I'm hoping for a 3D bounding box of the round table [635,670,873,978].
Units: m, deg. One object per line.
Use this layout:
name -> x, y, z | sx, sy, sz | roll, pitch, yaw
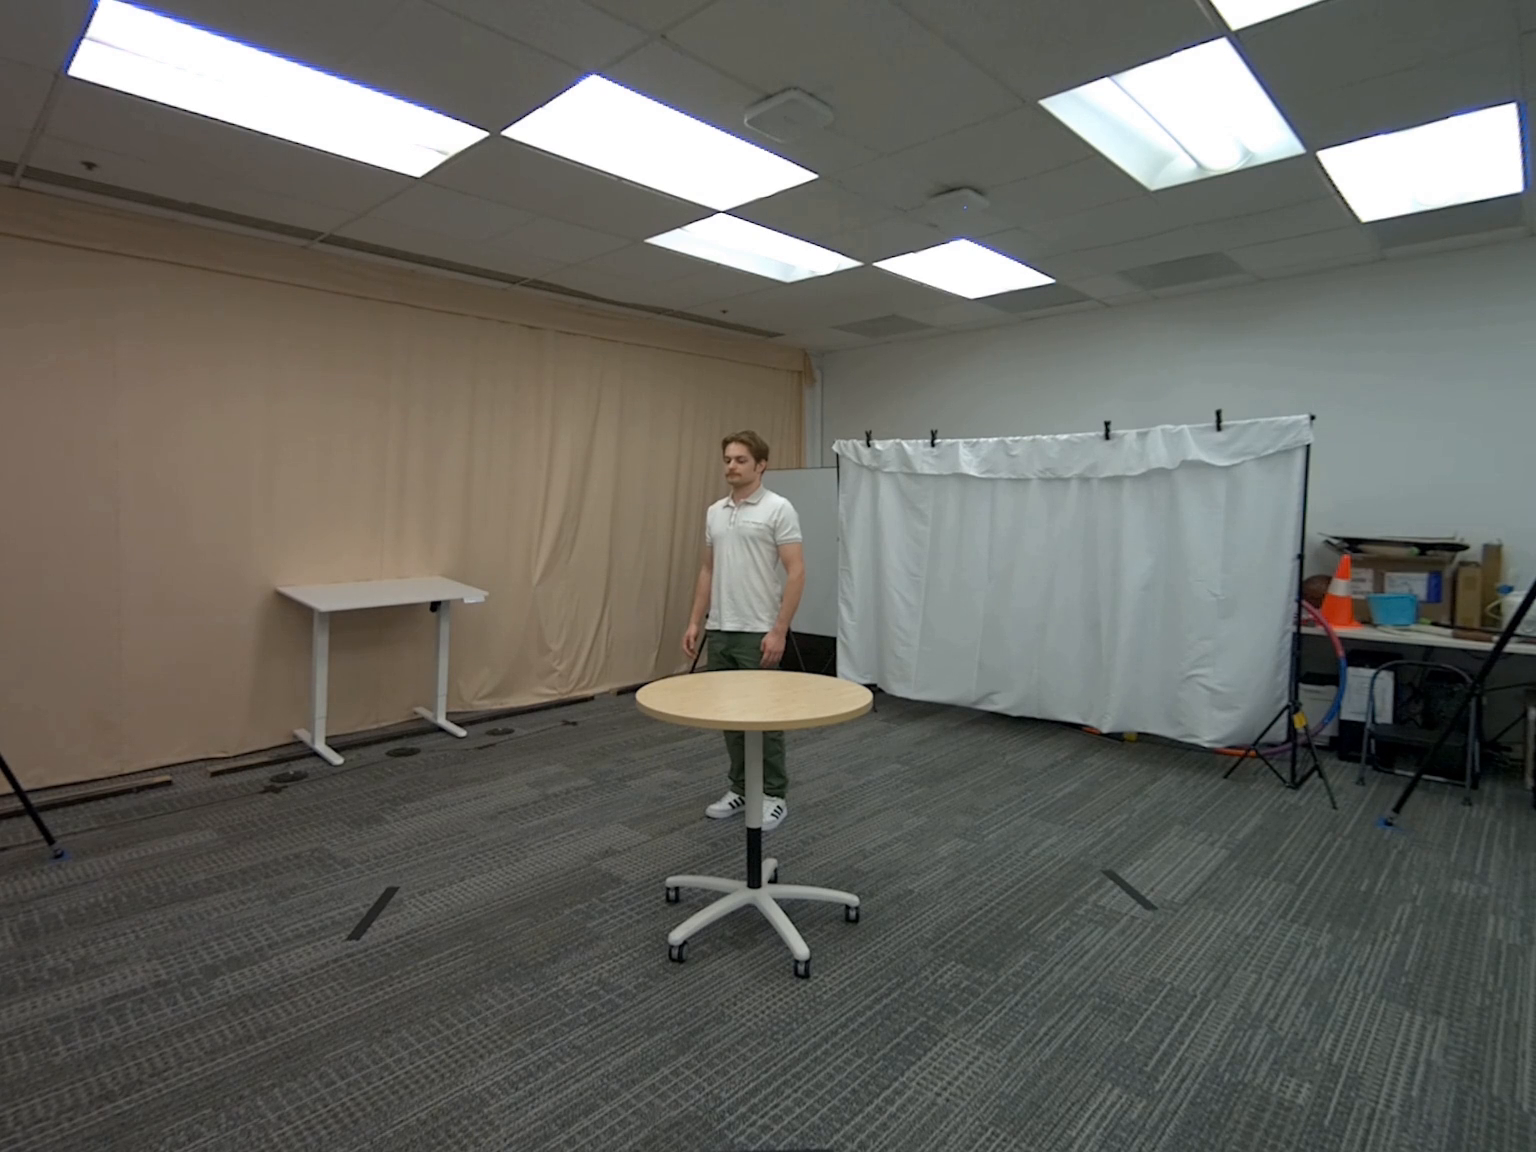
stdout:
round table -> -0.040, 0.772, 2.765 | 0.763, 0.792, 0.766 | -1, 3, -2
